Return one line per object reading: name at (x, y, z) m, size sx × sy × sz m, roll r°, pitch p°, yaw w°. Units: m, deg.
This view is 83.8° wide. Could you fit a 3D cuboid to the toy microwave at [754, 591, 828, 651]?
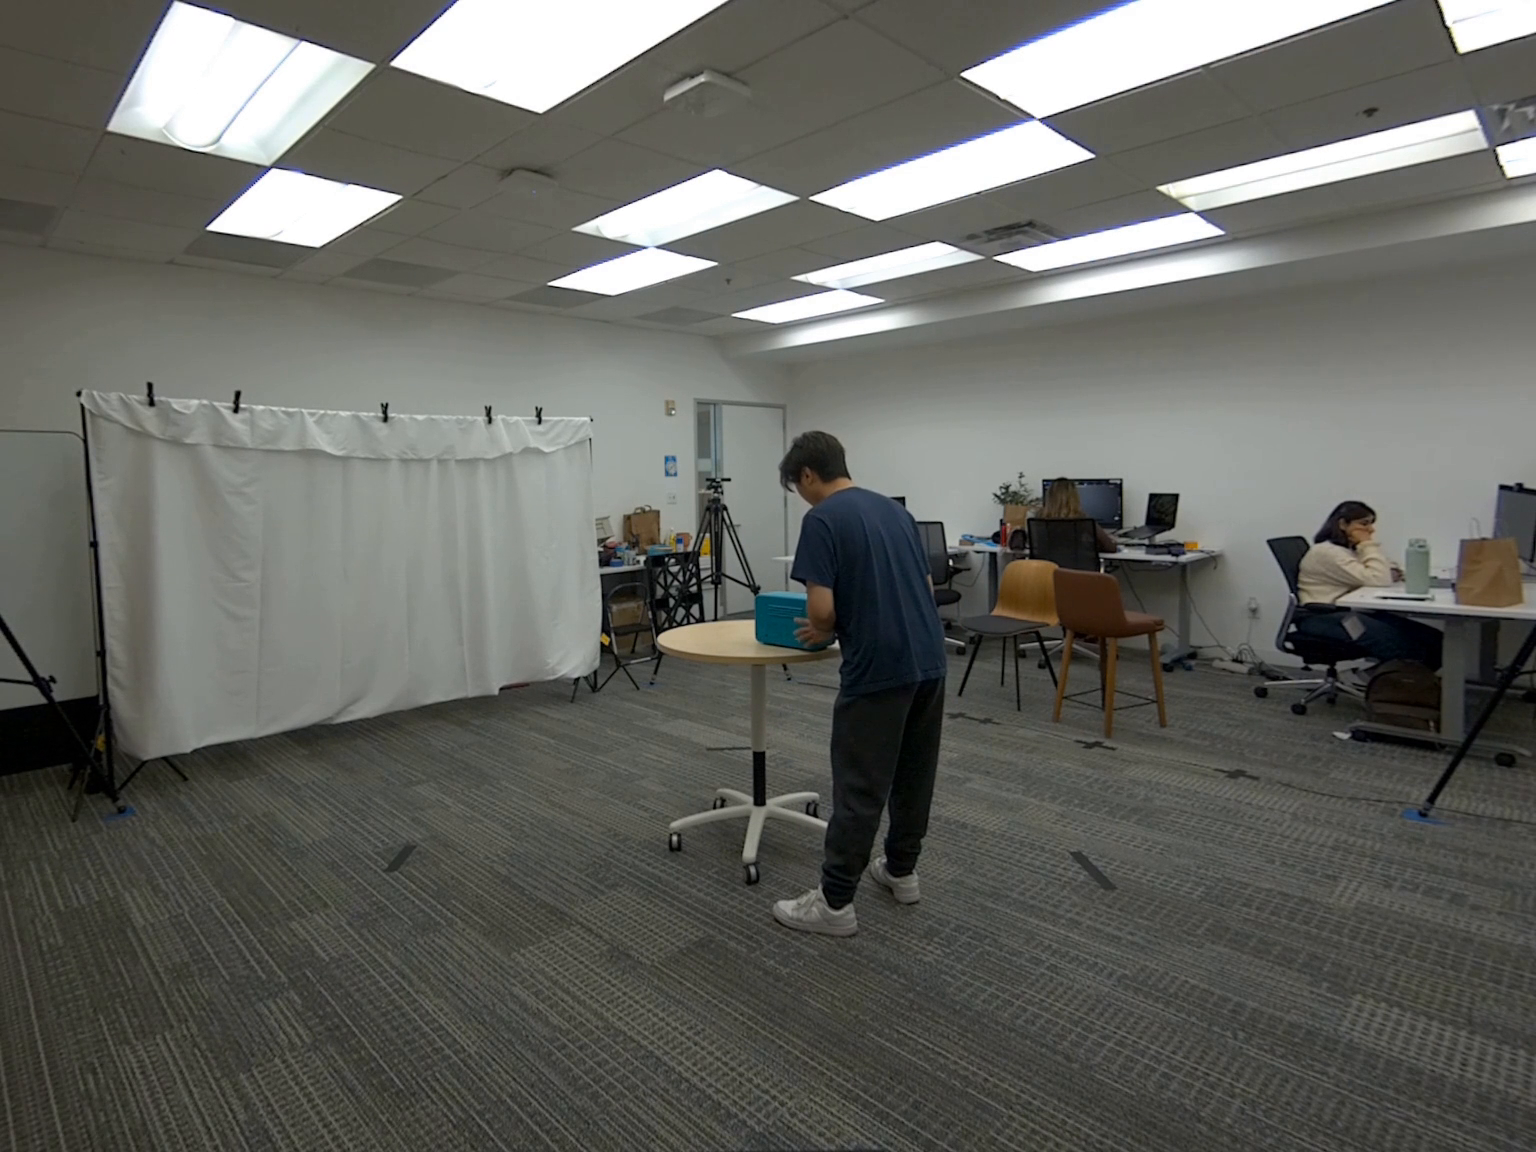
toy microwave at (0.105, 0.158, 3.066) m, size 0.295 × 0.183 × 0.148 m, roll 4°, pitch 6°, yaw 41°
